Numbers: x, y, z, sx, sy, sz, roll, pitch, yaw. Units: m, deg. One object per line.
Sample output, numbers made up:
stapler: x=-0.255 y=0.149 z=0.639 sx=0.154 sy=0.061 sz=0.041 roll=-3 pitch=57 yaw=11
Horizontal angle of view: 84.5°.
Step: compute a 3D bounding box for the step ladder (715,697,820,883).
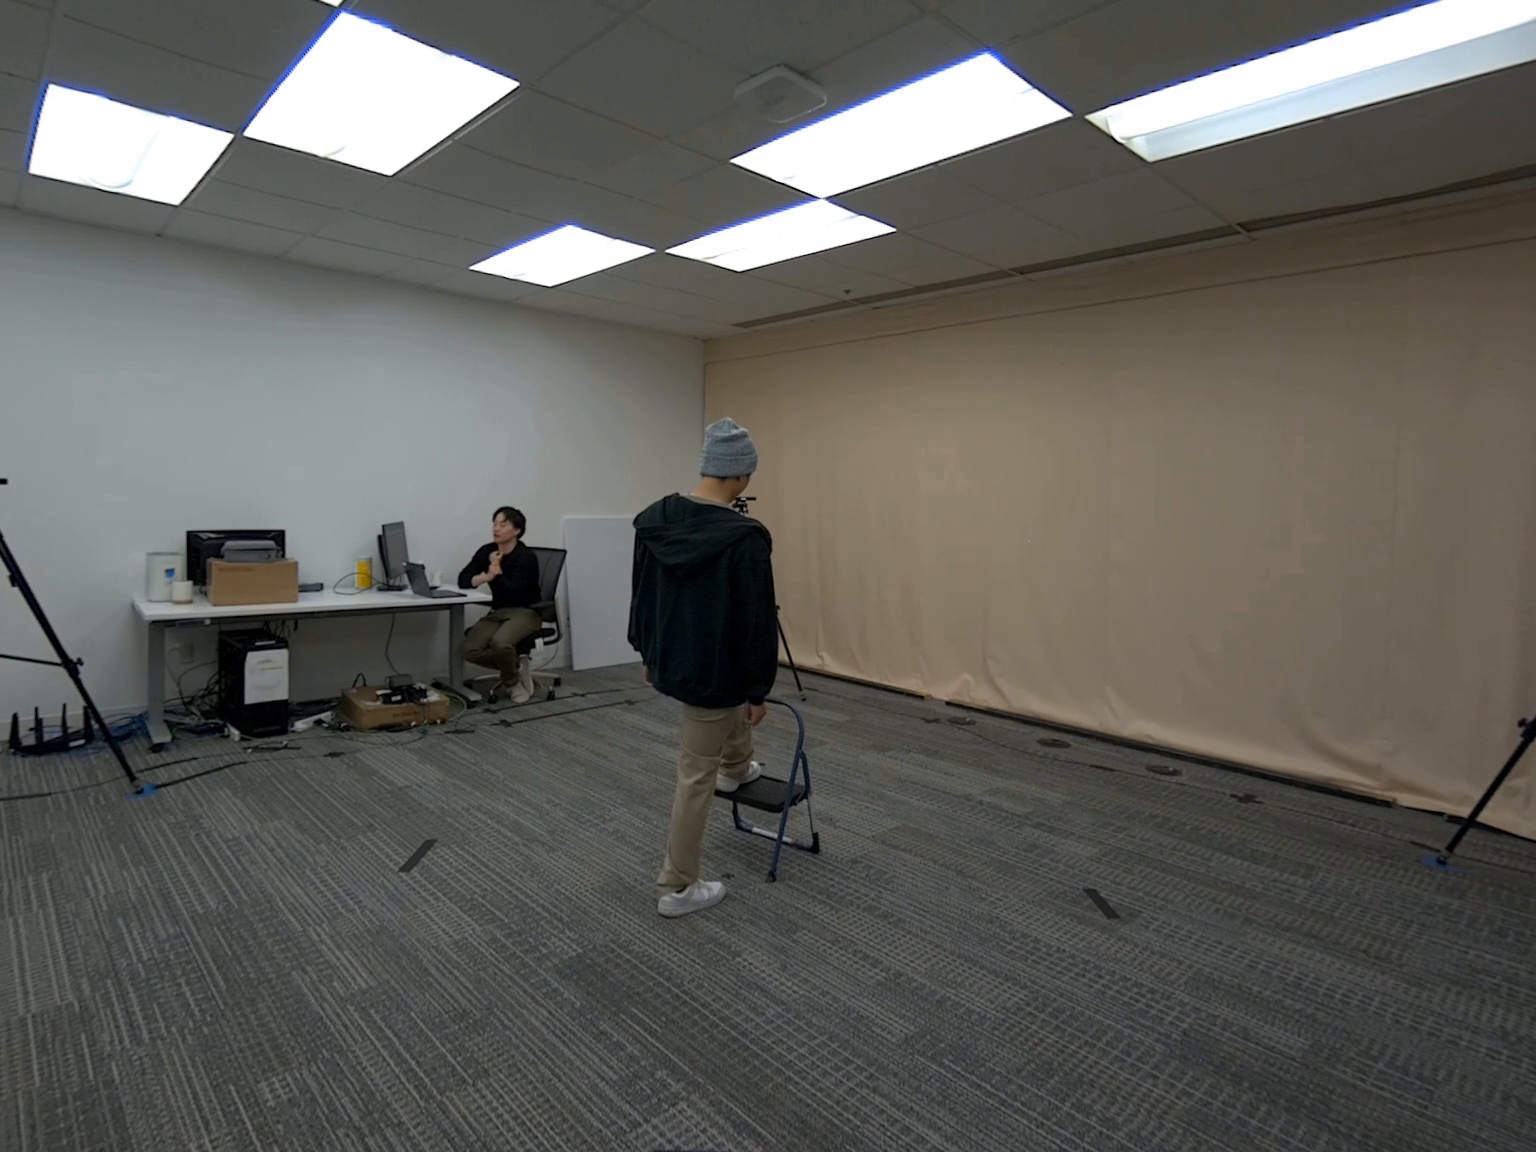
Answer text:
step ladder: x=-0.054 y=0.789 z=3.307 sx=0.441 sy=0.605 sz=0.341 roll=4 pitch=4 yaw=37
